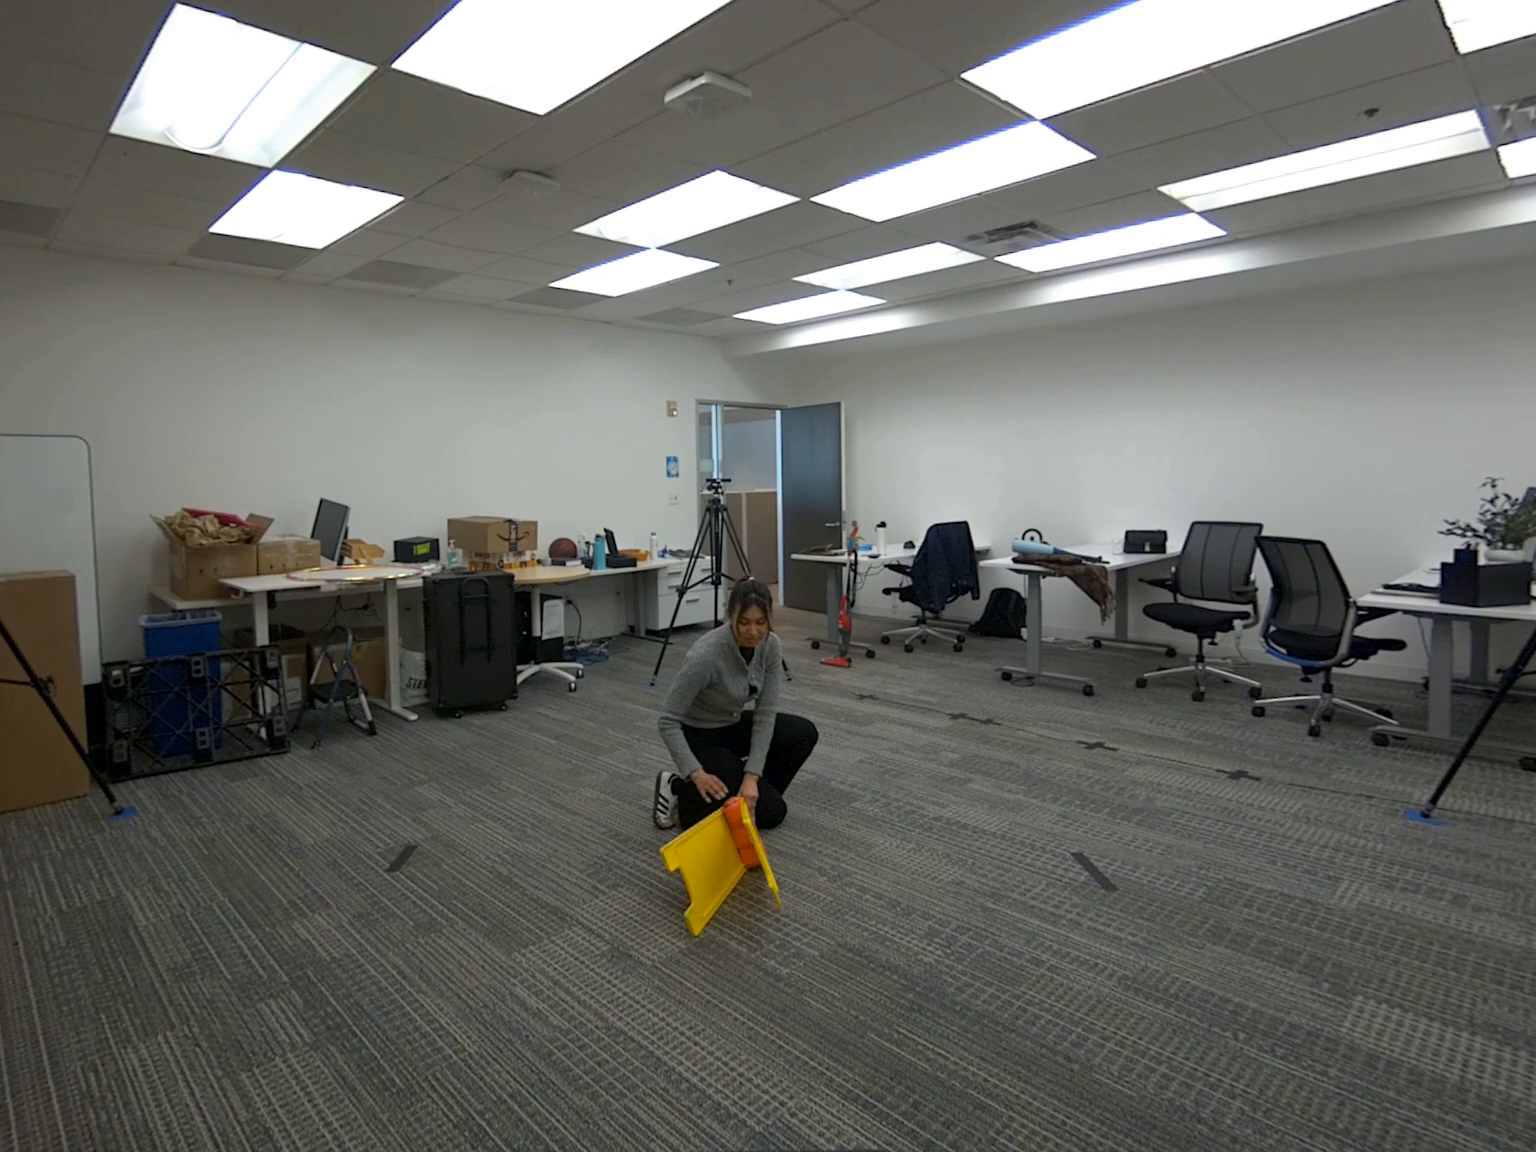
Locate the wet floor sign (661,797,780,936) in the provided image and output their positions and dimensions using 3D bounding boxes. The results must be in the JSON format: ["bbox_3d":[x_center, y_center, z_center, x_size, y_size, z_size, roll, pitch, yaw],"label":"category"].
[{"bbox_3d":[-0.103,0.932,2.916,0.291,0.284,0.639,-22,-4,7],"label":"wet floor sign"}]
